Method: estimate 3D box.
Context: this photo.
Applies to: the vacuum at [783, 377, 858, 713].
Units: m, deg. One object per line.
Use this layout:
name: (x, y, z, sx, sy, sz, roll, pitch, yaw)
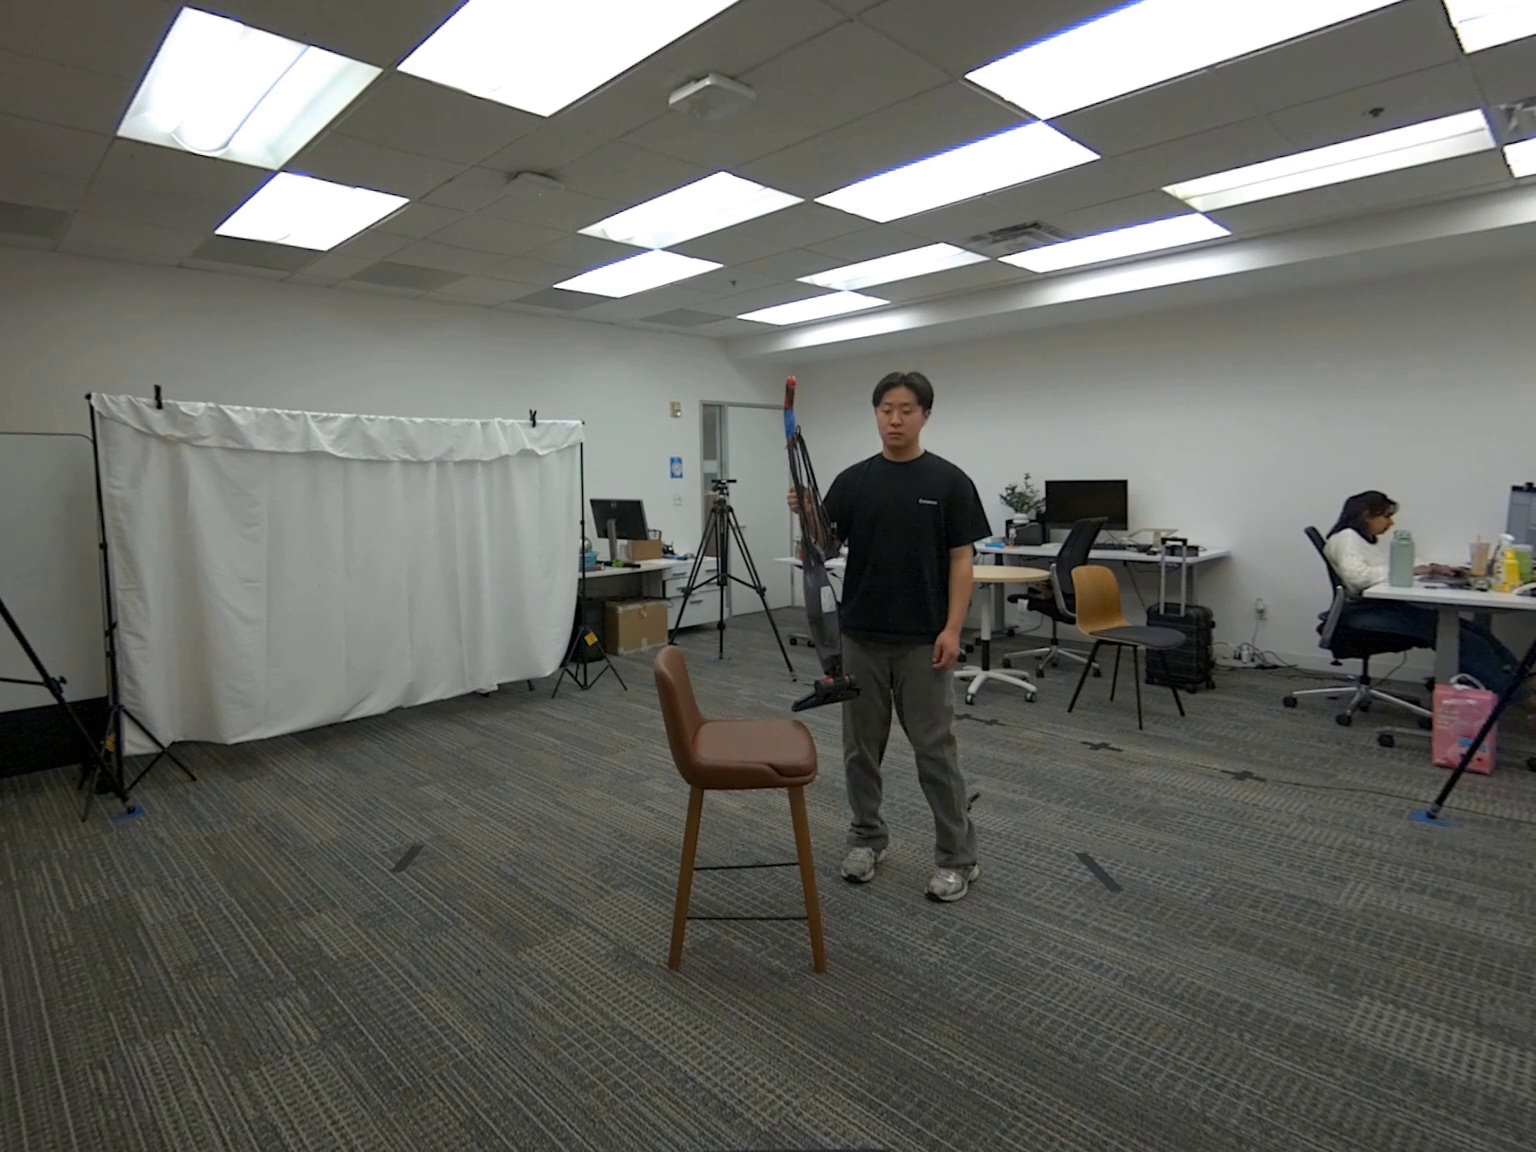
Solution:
vacuum: (0.147, -0.130, 2.827, 0.247, 1.048, 0.147, -7, 2, -32)
